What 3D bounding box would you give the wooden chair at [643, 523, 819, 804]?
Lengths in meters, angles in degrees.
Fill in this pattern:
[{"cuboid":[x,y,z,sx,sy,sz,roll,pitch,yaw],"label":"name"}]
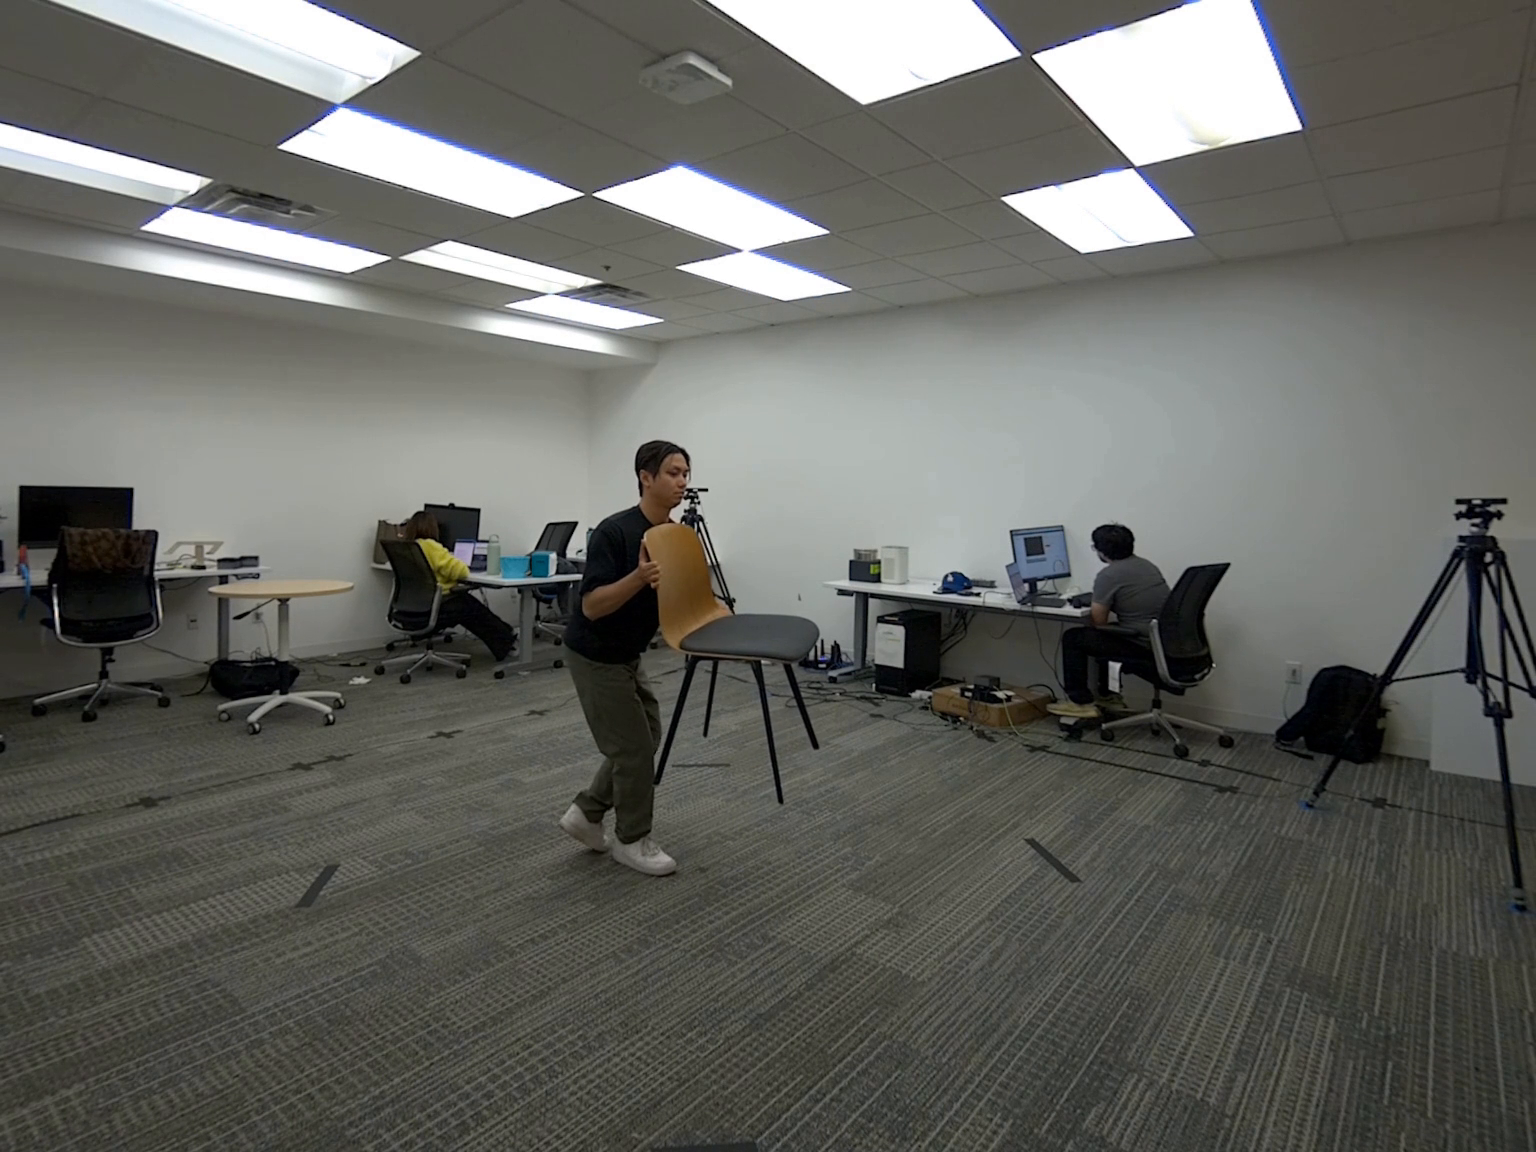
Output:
[{"cuboid":[-0.113,0.253,2.904,0.534,0.870,0.472,-3,8,20],"label":"wooden chair"}]
